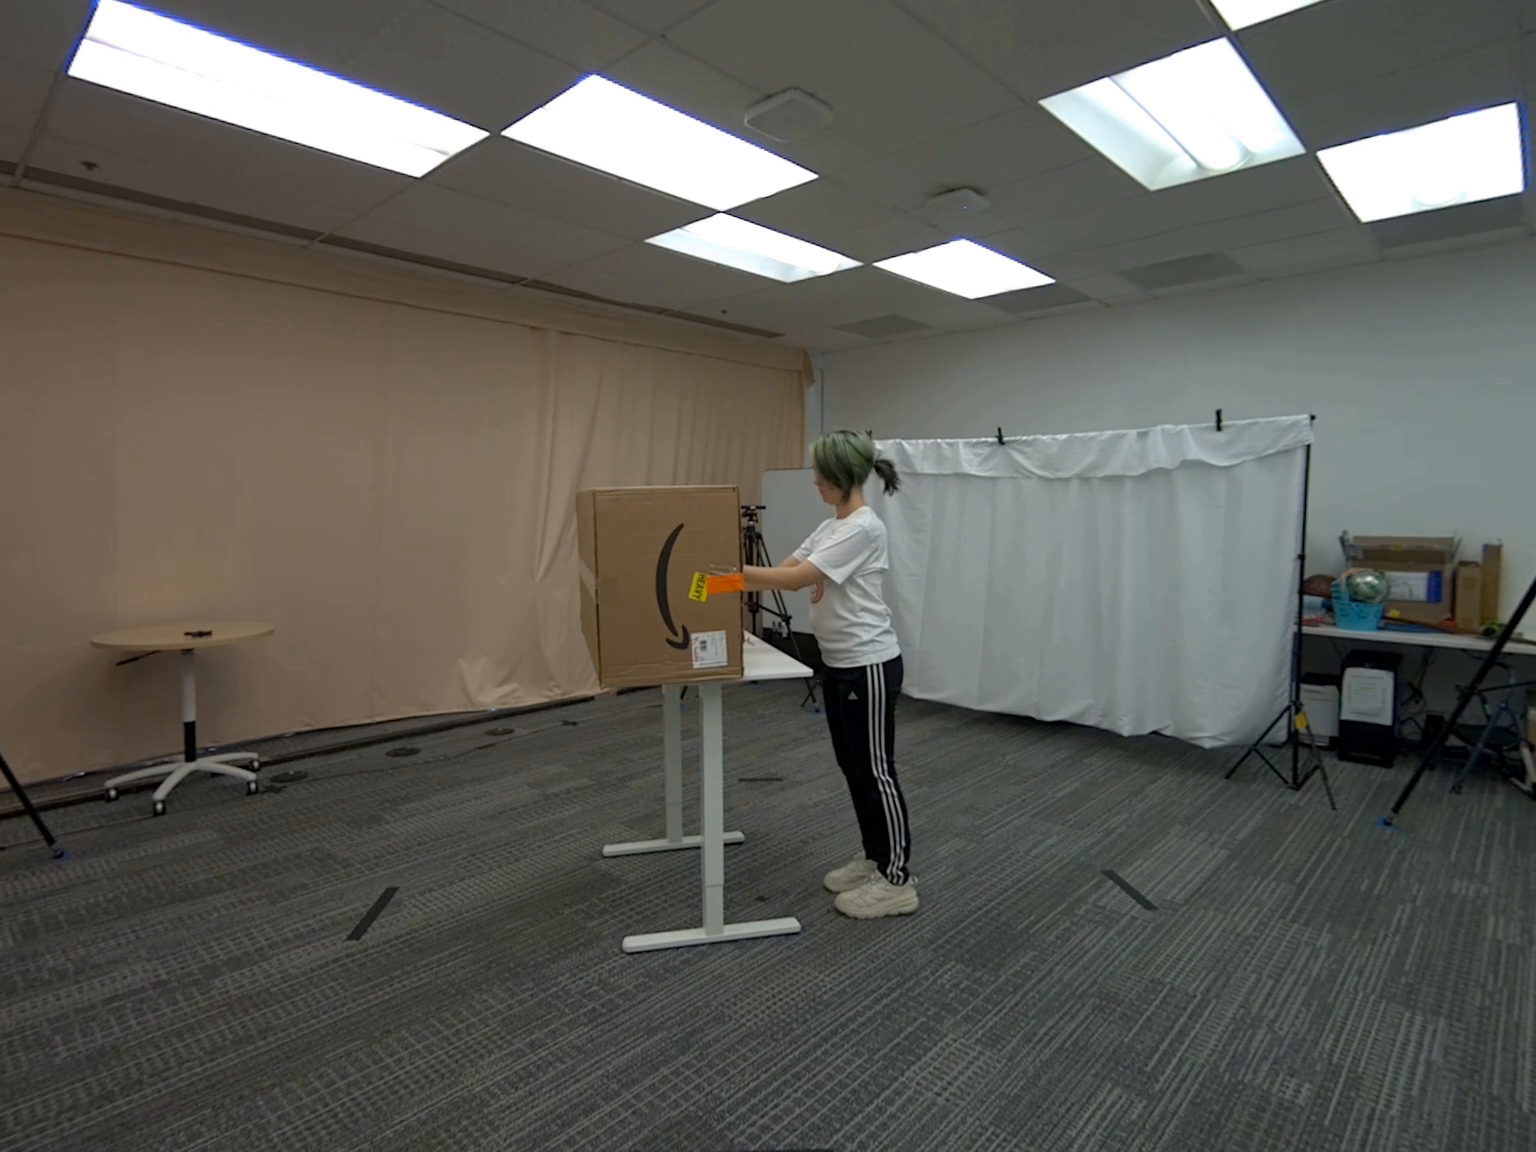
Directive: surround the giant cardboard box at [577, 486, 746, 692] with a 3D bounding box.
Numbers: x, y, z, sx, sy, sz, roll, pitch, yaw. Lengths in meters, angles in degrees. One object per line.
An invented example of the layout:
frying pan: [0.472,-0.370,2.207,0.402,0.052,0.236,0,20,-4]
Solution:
giant cardboard box: [-0.415,-0.017,2.925,0.440,0.582,1.045,-2,6,-15]
